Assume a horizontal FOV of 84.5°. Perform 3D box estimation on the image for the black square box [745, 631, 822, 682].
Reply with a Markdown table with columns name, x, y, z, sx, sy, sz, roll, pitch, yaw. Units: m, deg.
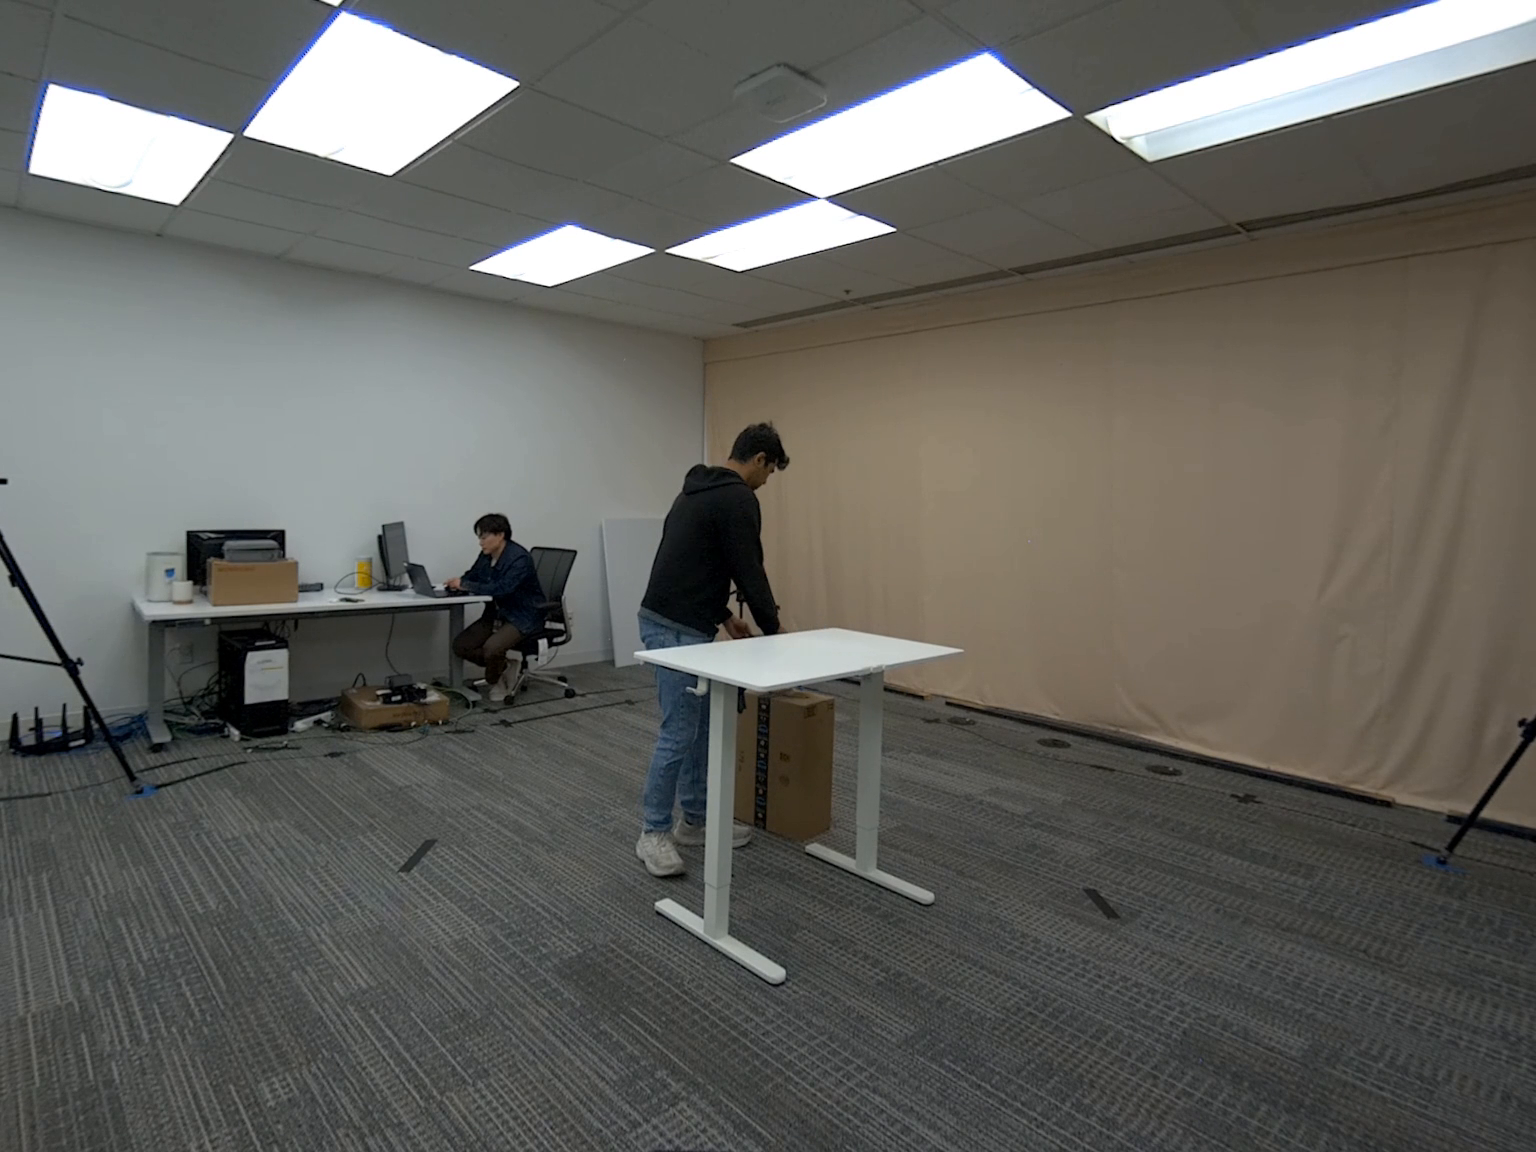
| name | x | y | z | sx | sy | sz | roll | pitch | yaw |
| --- | --- | --- | --- | --- | --- | --- | --- | --- | --- |
| black square box | 0.062 | 0.334 | 3.595 | 0.212 | 0.155 | 0.234 | -1 | 6 | -41 |
